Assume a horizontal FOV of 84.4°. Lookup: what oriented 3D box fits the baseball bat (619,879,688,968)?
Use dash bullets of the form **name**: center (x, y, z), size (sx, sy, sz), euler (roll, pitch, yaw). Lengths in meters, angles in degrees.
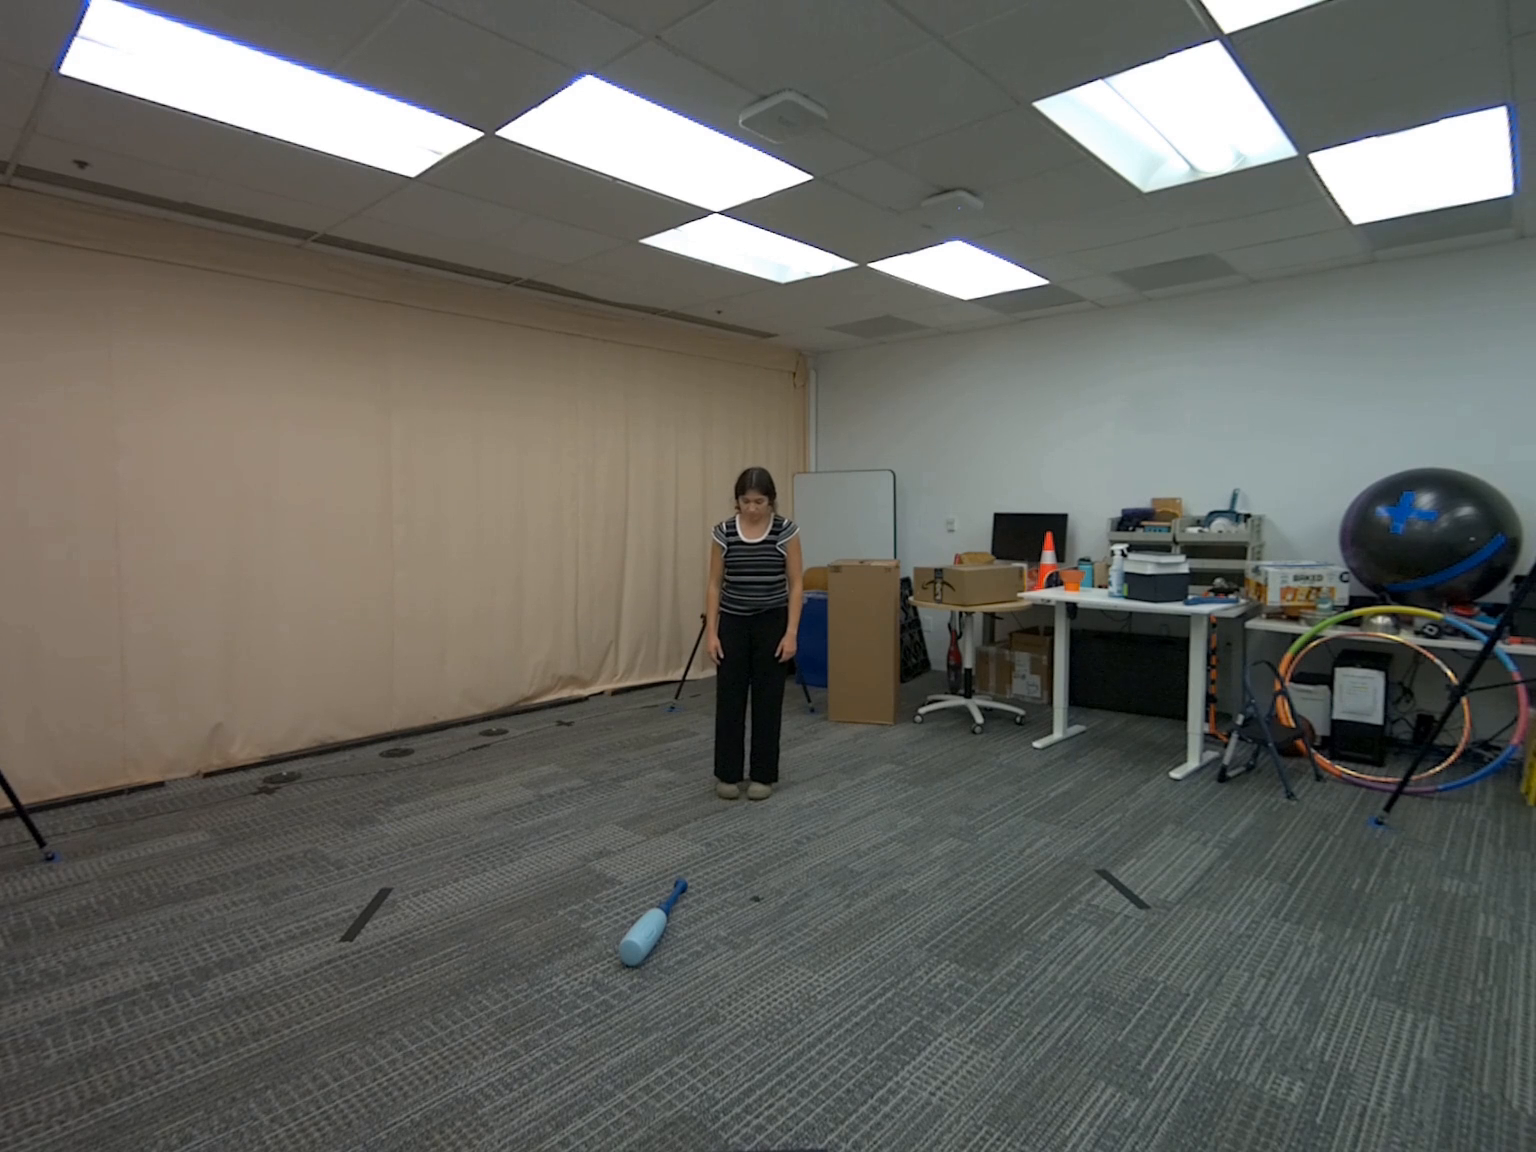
- **baseball bat**: center (-0.360, 1.124, 2.785), size (0.090, 0.089, 0.536), euler (1, 2, 11)
